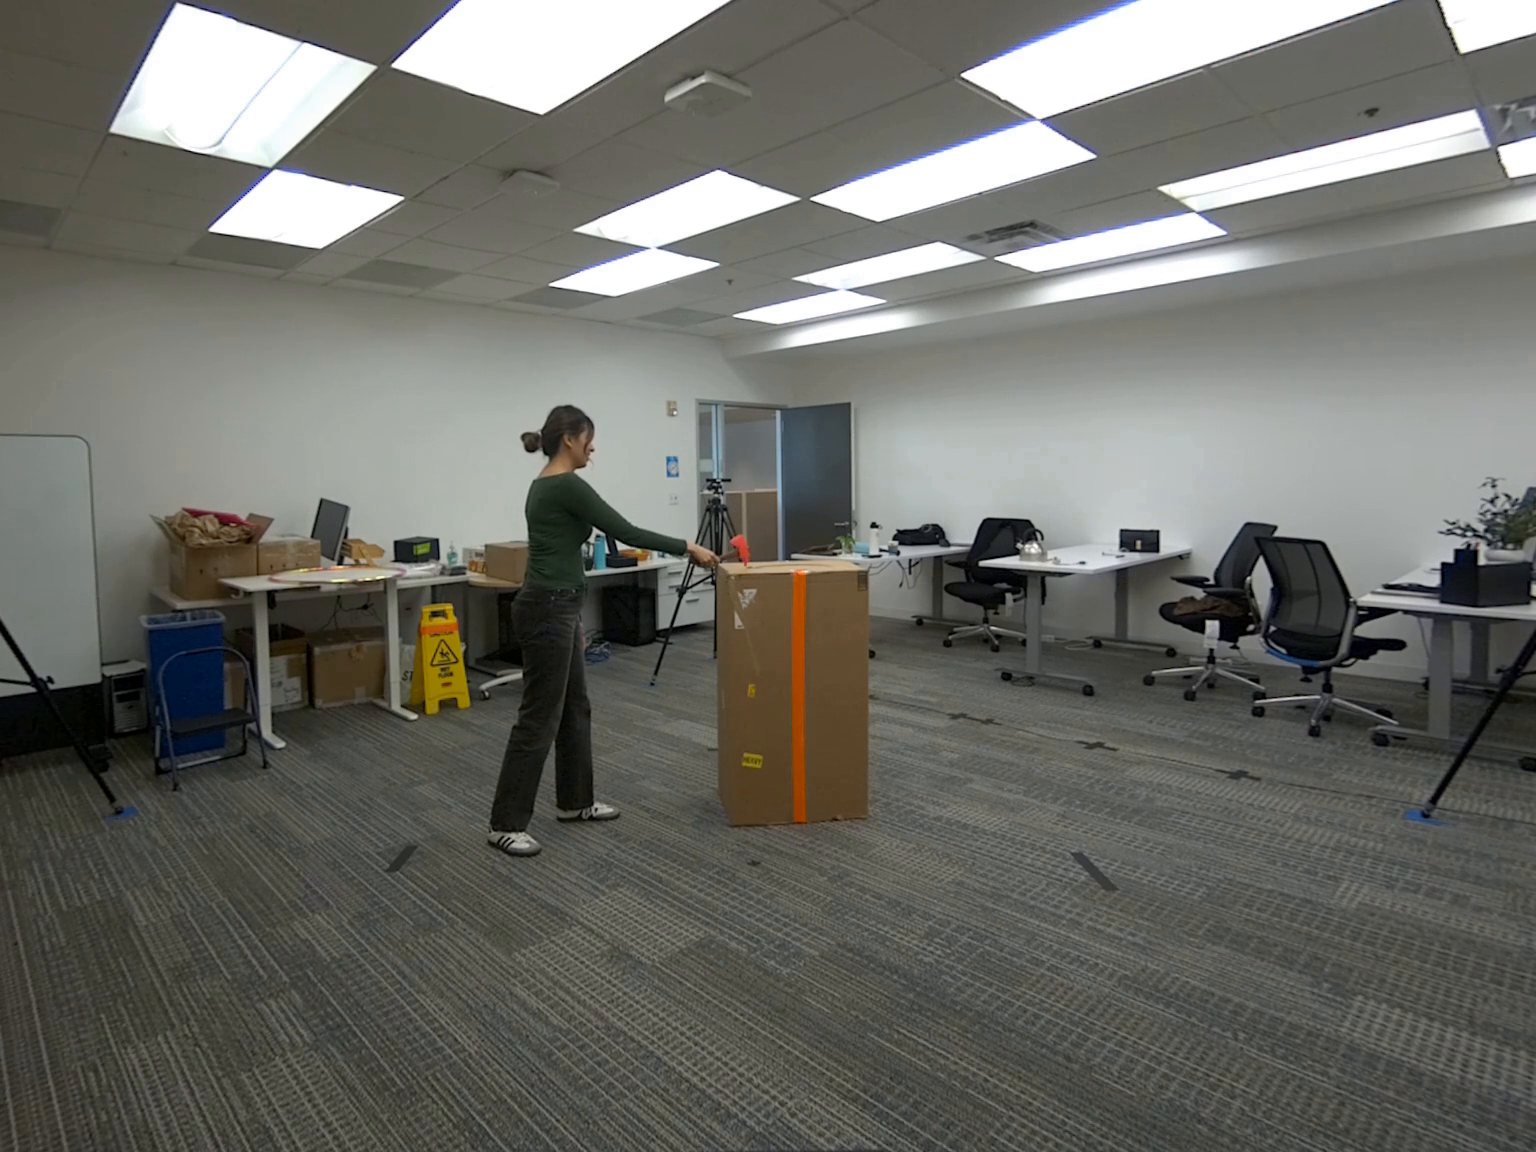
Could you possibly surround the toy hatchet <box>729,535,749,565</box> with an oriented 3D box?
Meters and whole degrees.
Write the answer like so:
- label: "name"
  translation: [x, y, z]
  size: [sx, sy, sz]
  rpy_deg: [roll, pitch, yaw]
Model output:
- label: "toy hatchet"
  translation: [-0.203, -0.122, 3.460]
  size: [0.264, 0.130, 0.030]
  rpy_deg: [2, 14, -22]
